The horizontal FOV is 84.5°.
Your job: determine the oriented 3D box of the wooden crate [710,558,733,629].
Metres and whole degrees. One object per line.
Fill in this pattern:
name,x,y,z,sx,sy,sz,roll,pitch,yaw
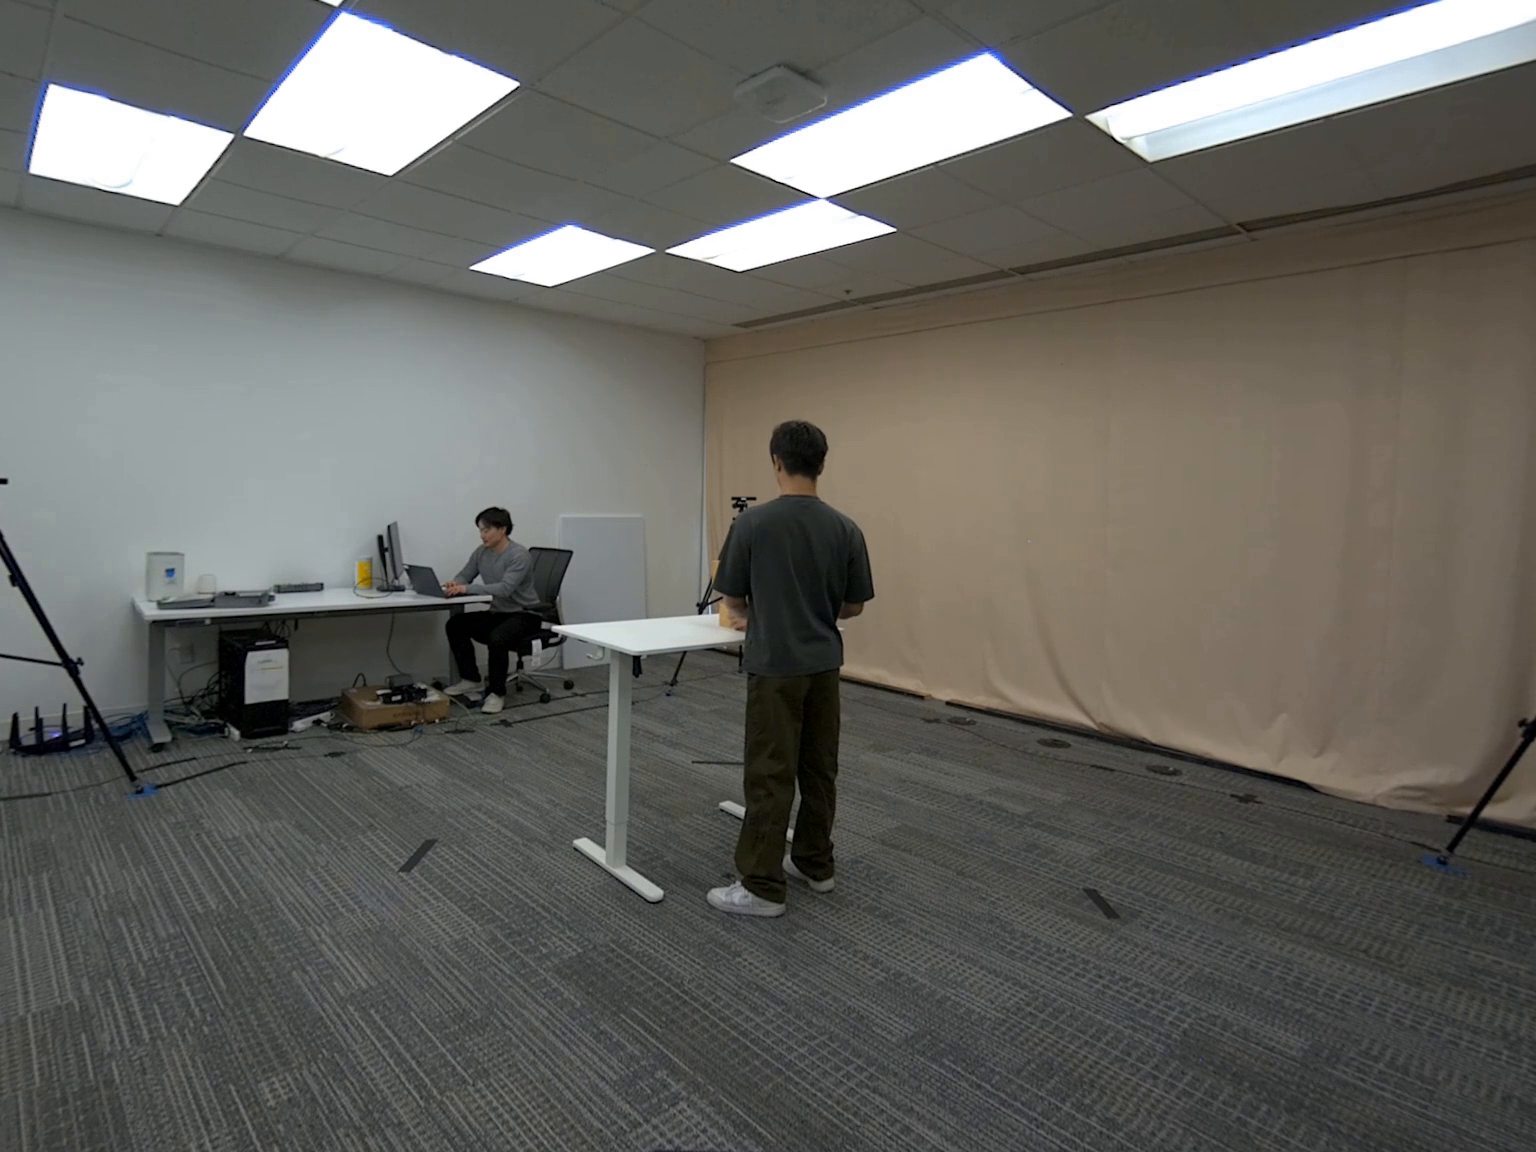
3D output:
wooden crate,-0.022,0.073,3.389,0.317,0.273,0.310,-2,5,-43
